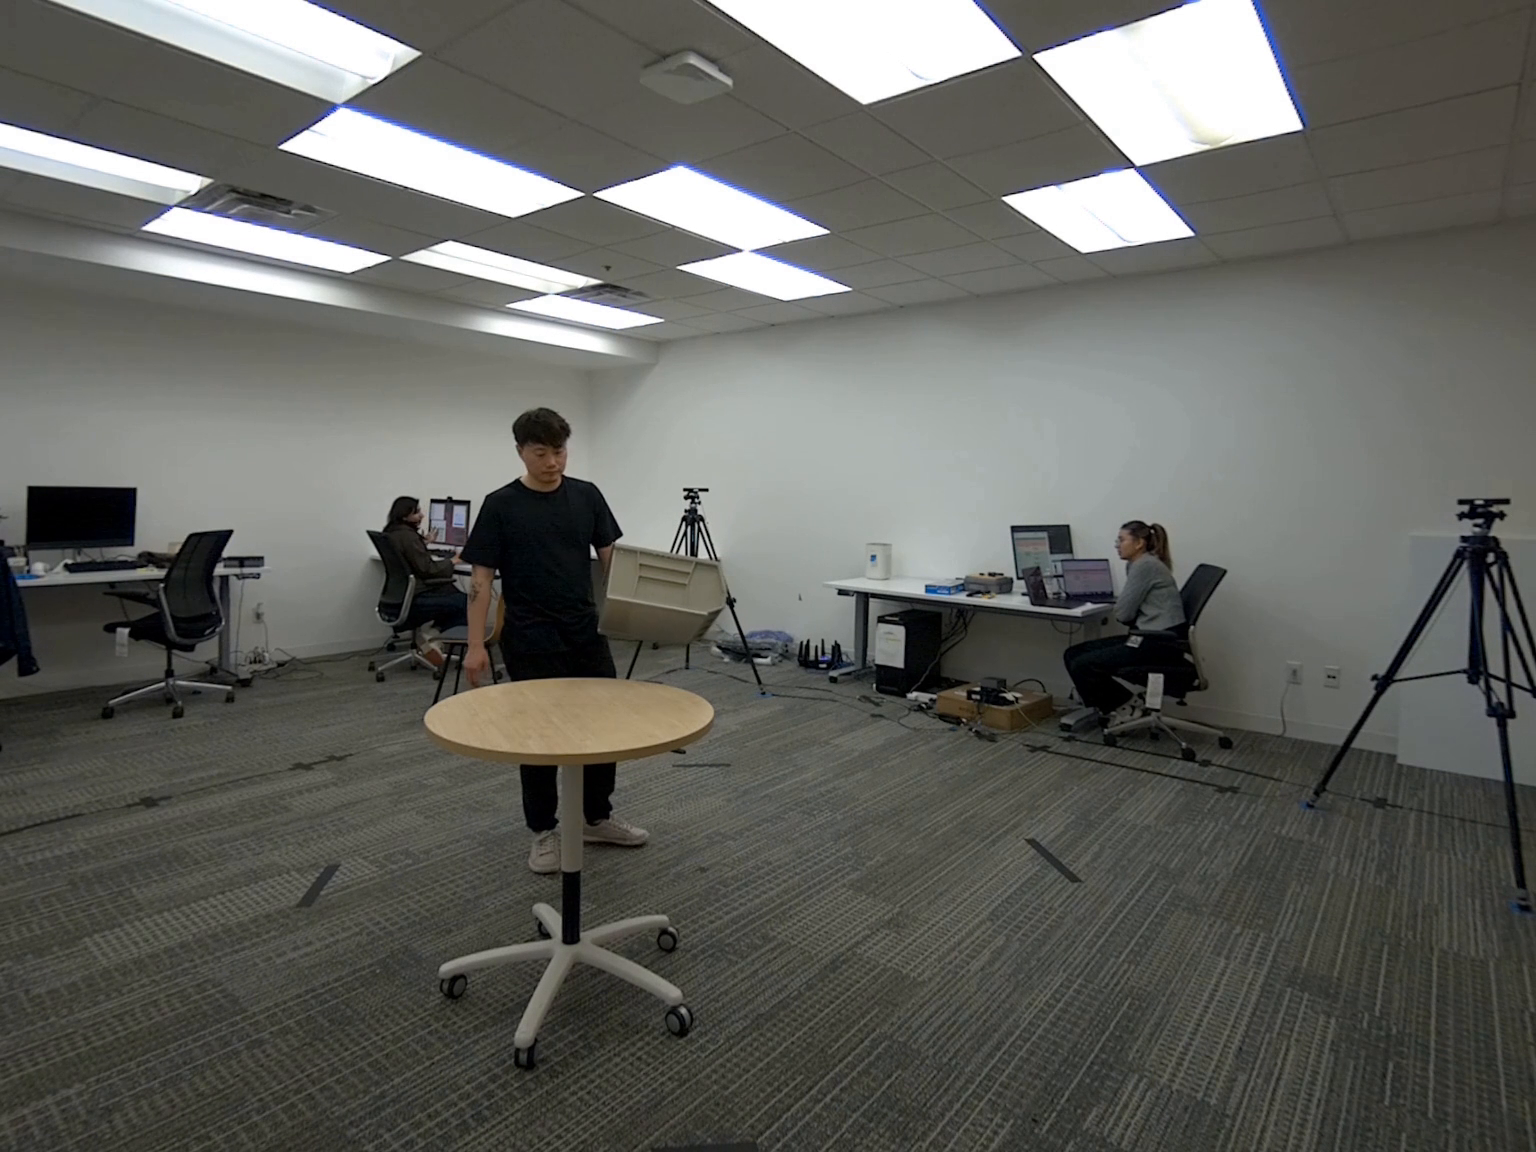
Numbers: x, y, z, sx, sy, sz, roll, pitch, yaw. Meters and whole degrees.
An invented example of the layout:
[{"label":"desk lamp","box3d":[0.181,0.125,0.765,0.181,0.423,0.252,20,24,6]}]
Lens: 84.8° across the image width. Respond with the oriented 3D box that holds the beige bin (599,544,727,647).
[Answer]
[{"label":"beige bin","box3d":[-0.374,0.073,2.811,0.373,0.192,0.420,8,-20,-11]}]
